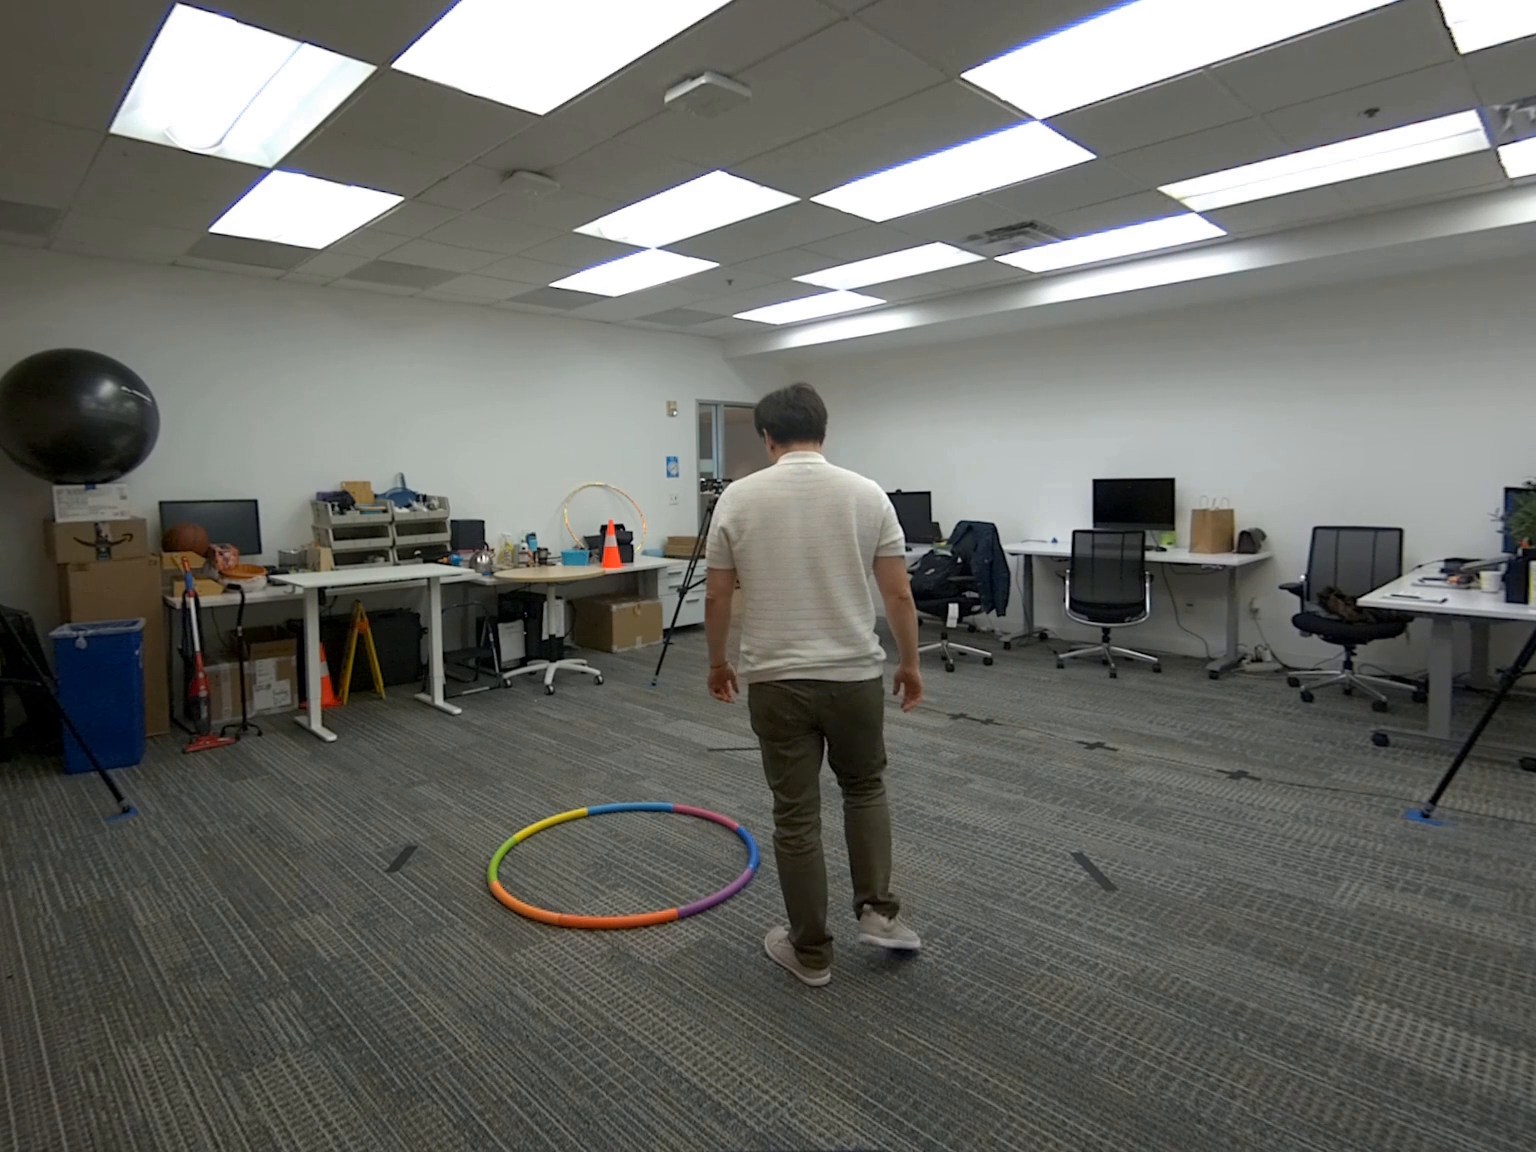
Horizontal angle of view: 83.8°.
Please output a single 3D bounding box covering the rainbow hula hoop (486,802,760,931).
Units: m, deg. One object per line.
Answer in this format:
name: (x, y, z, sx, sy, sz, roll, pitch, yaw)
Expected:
rainbow hula hoop: (-0.519, 1.018, 3.151, 0.978, 0.035, 0.984, -1, 6, -2)
